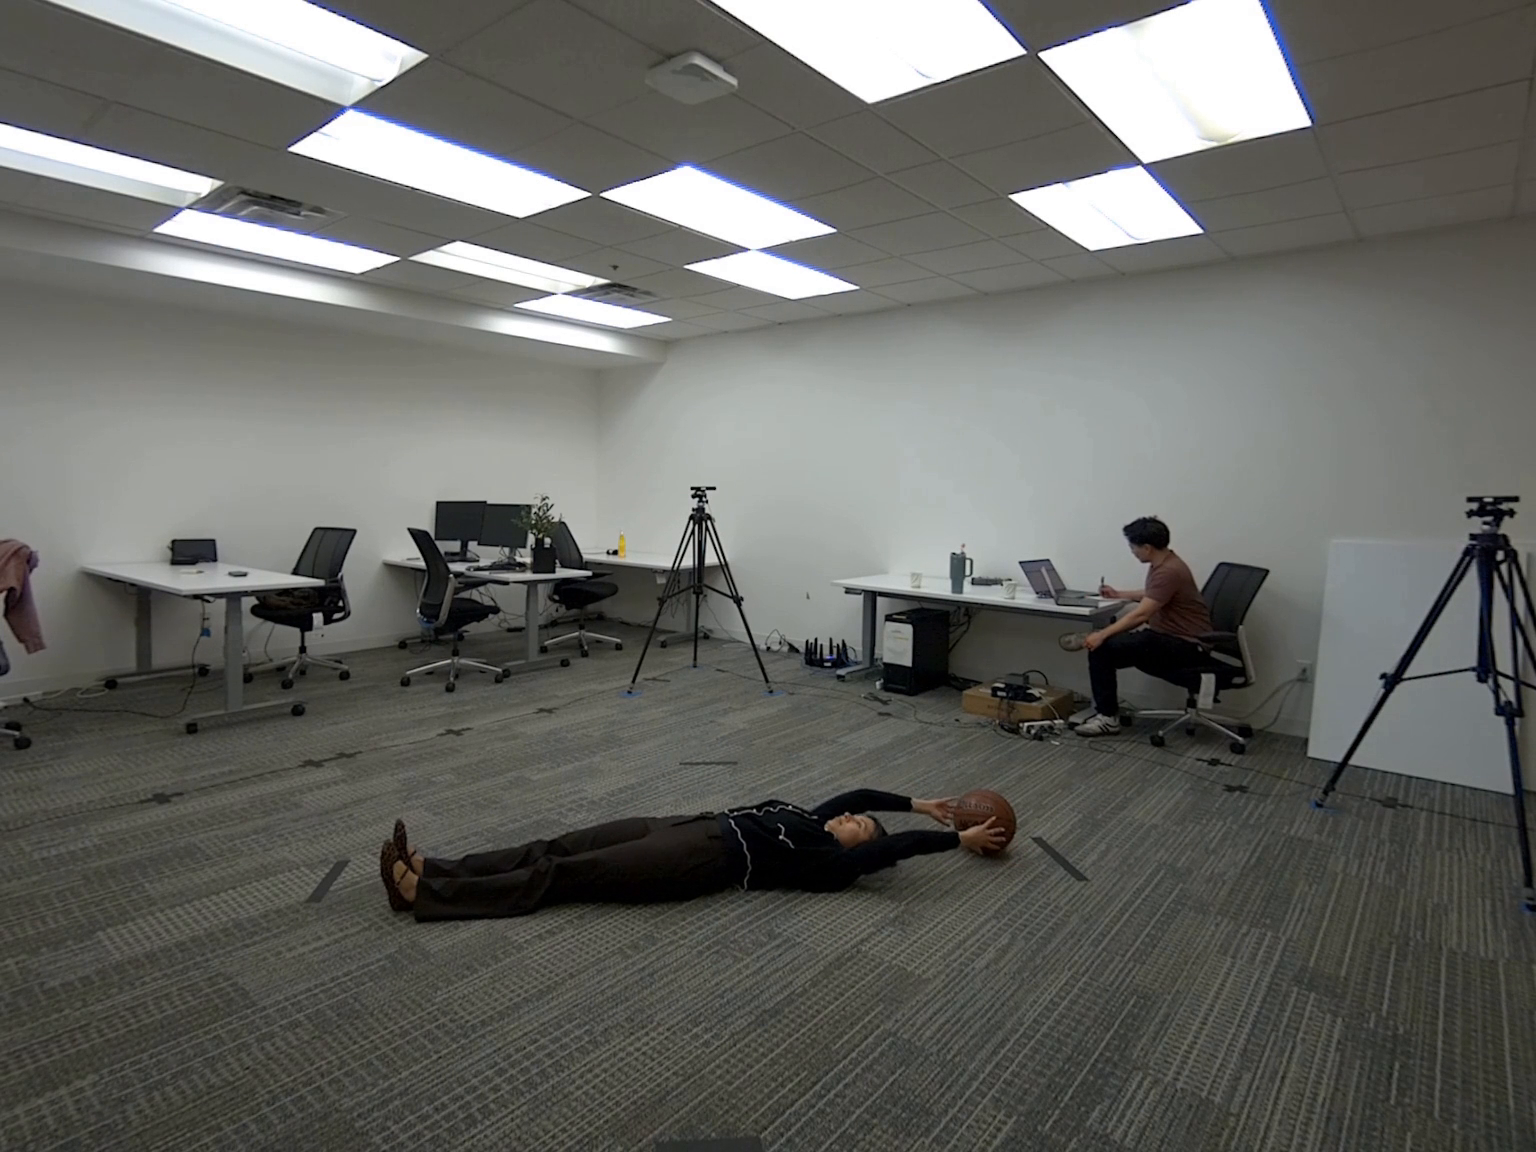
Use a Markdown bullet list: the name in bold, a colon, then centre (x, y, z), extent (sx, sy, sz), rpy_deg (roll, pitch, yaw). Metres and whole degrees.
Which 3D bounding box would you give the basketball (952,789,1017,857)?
- **basketball**: centre (0.833, 0.948, 3.317), extent (0.236, 0.235, 0.237), rpy_deg (1, 4, -2)
